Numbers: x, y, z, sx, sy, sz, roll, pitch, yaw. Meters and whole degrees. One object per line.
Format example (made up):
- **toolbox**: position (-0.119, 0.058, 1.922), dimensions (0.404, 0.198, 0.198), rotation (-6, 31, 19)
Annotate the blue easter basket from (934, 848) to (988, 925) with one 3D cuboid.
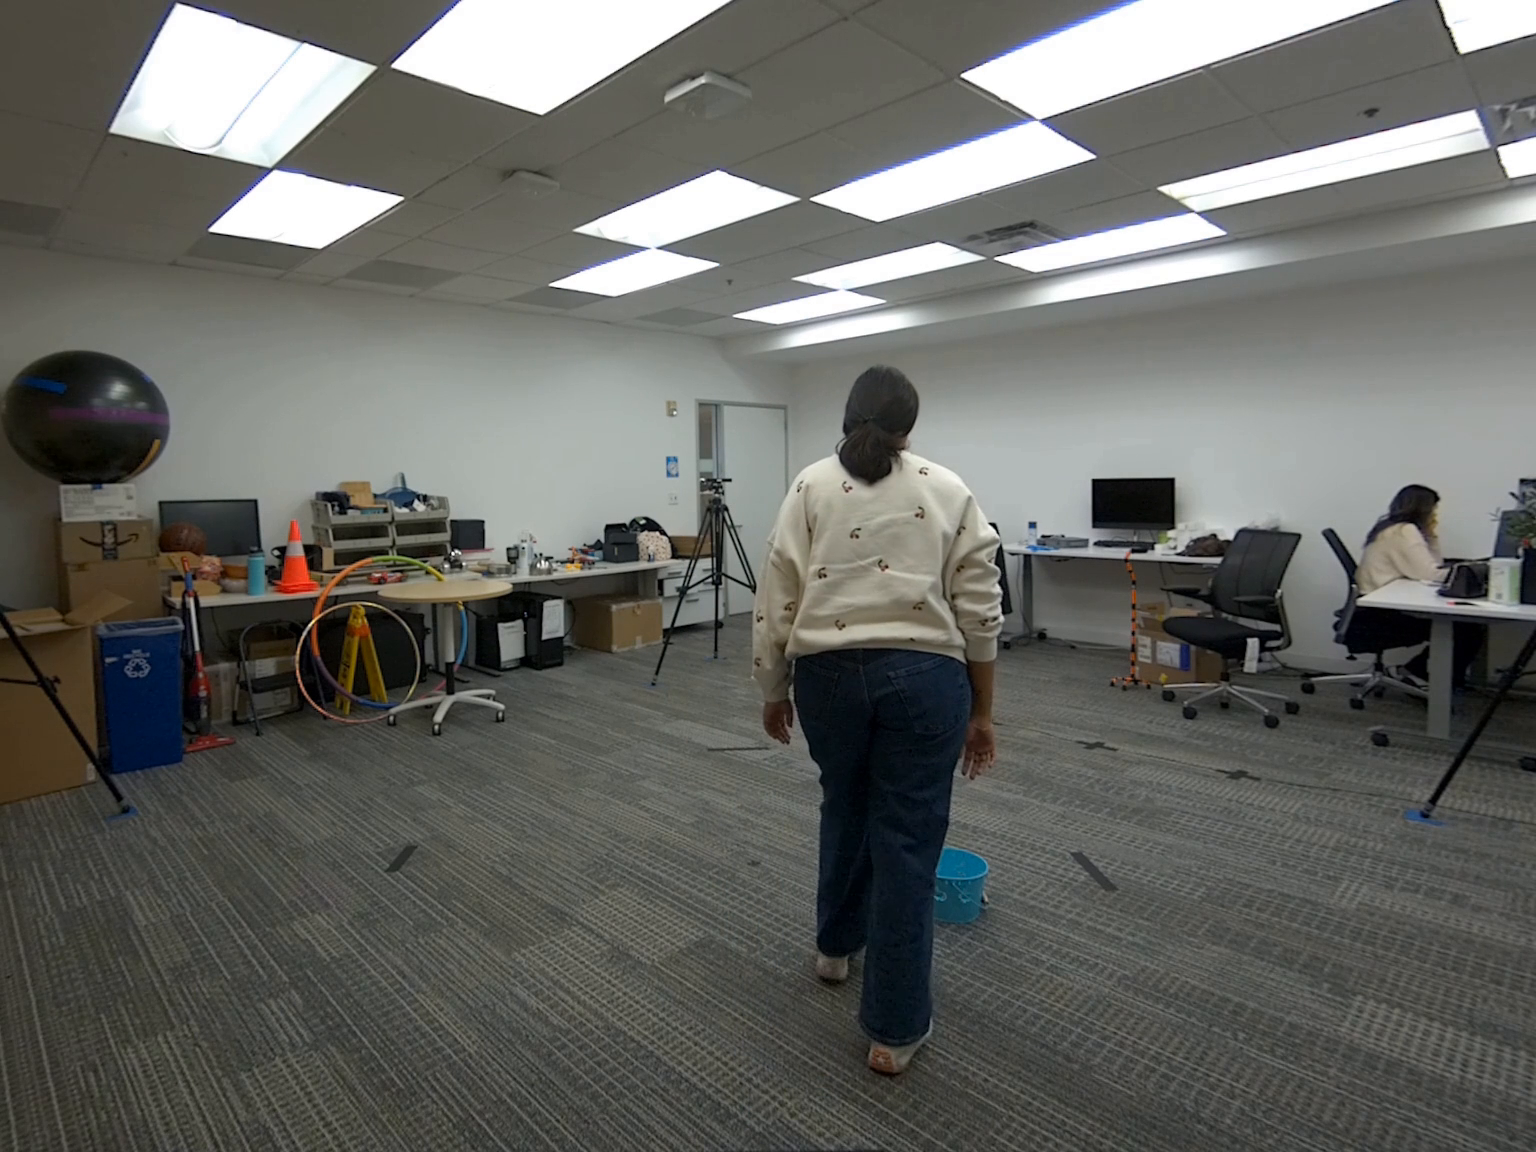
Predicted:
- **blue easter basket**: position (0.592, 0.997, 2.744), dimensions (0.243, 0.155, 0.245), rotation (-2, 6, -1)
